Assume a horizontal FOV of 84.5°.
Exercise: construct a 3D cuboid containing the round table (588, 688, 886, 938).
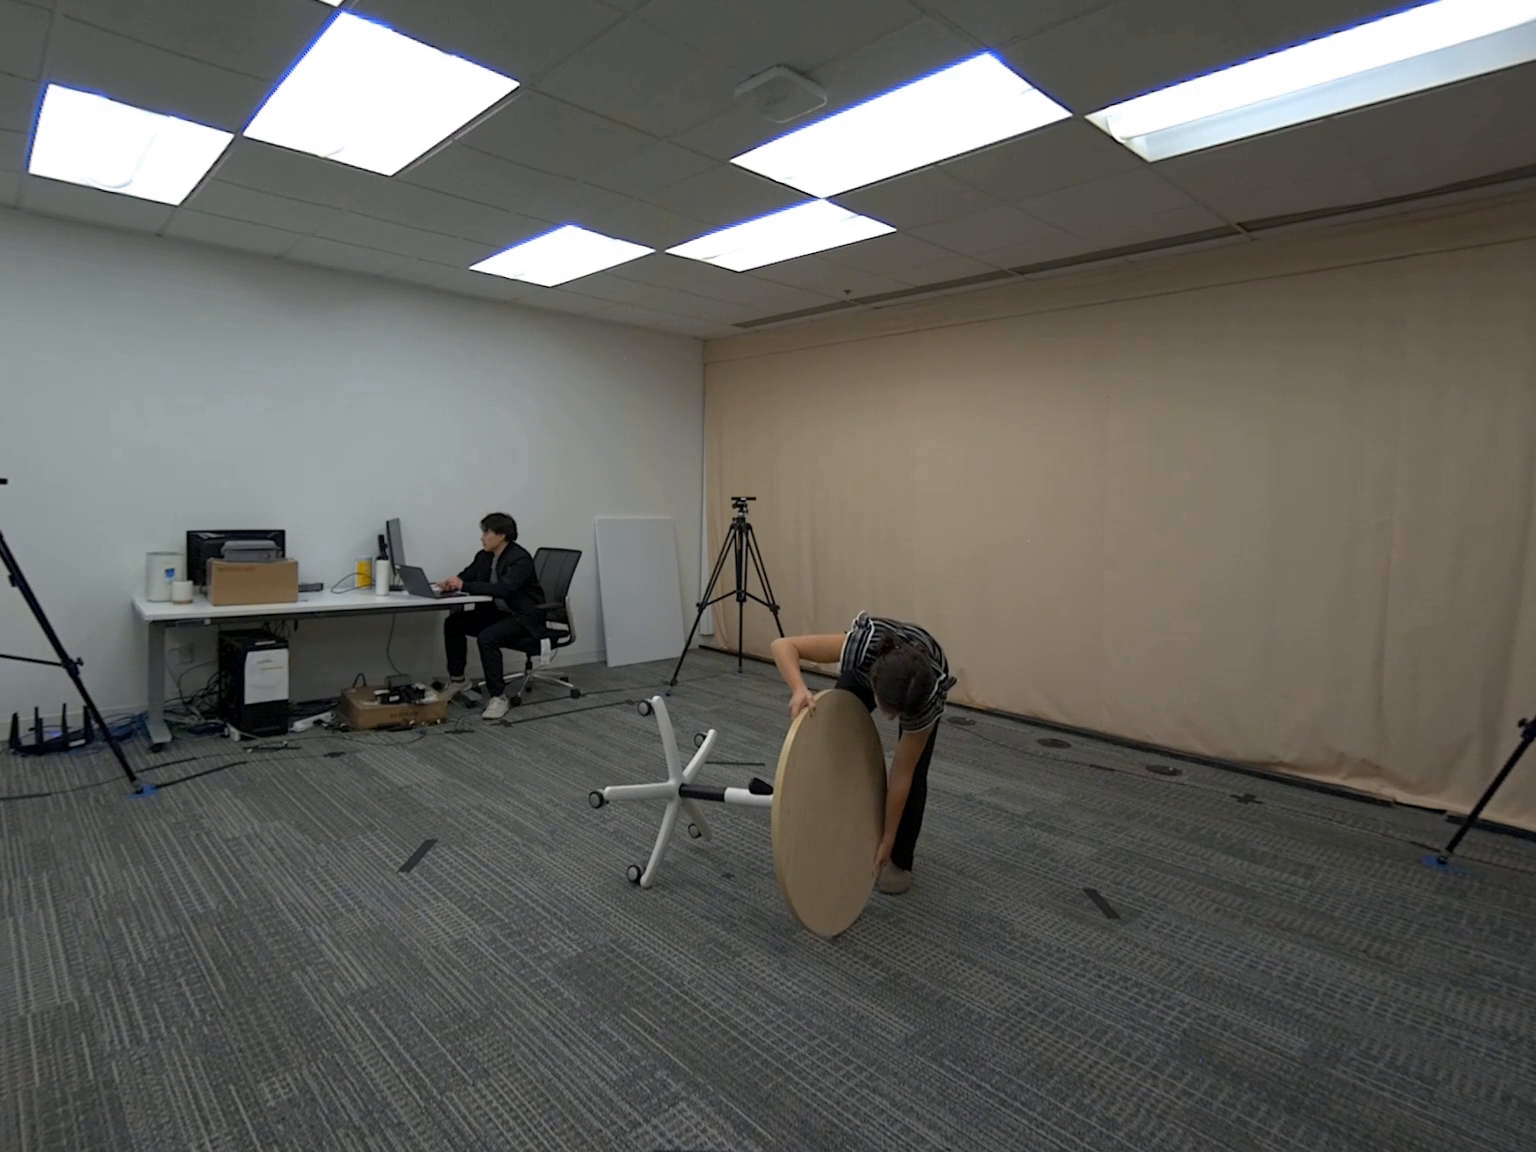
[{"bbox_3d":[-0.106,0.783,2.961,0.810,0.764,0.748,-4,1,33],"label":"round table"}]
